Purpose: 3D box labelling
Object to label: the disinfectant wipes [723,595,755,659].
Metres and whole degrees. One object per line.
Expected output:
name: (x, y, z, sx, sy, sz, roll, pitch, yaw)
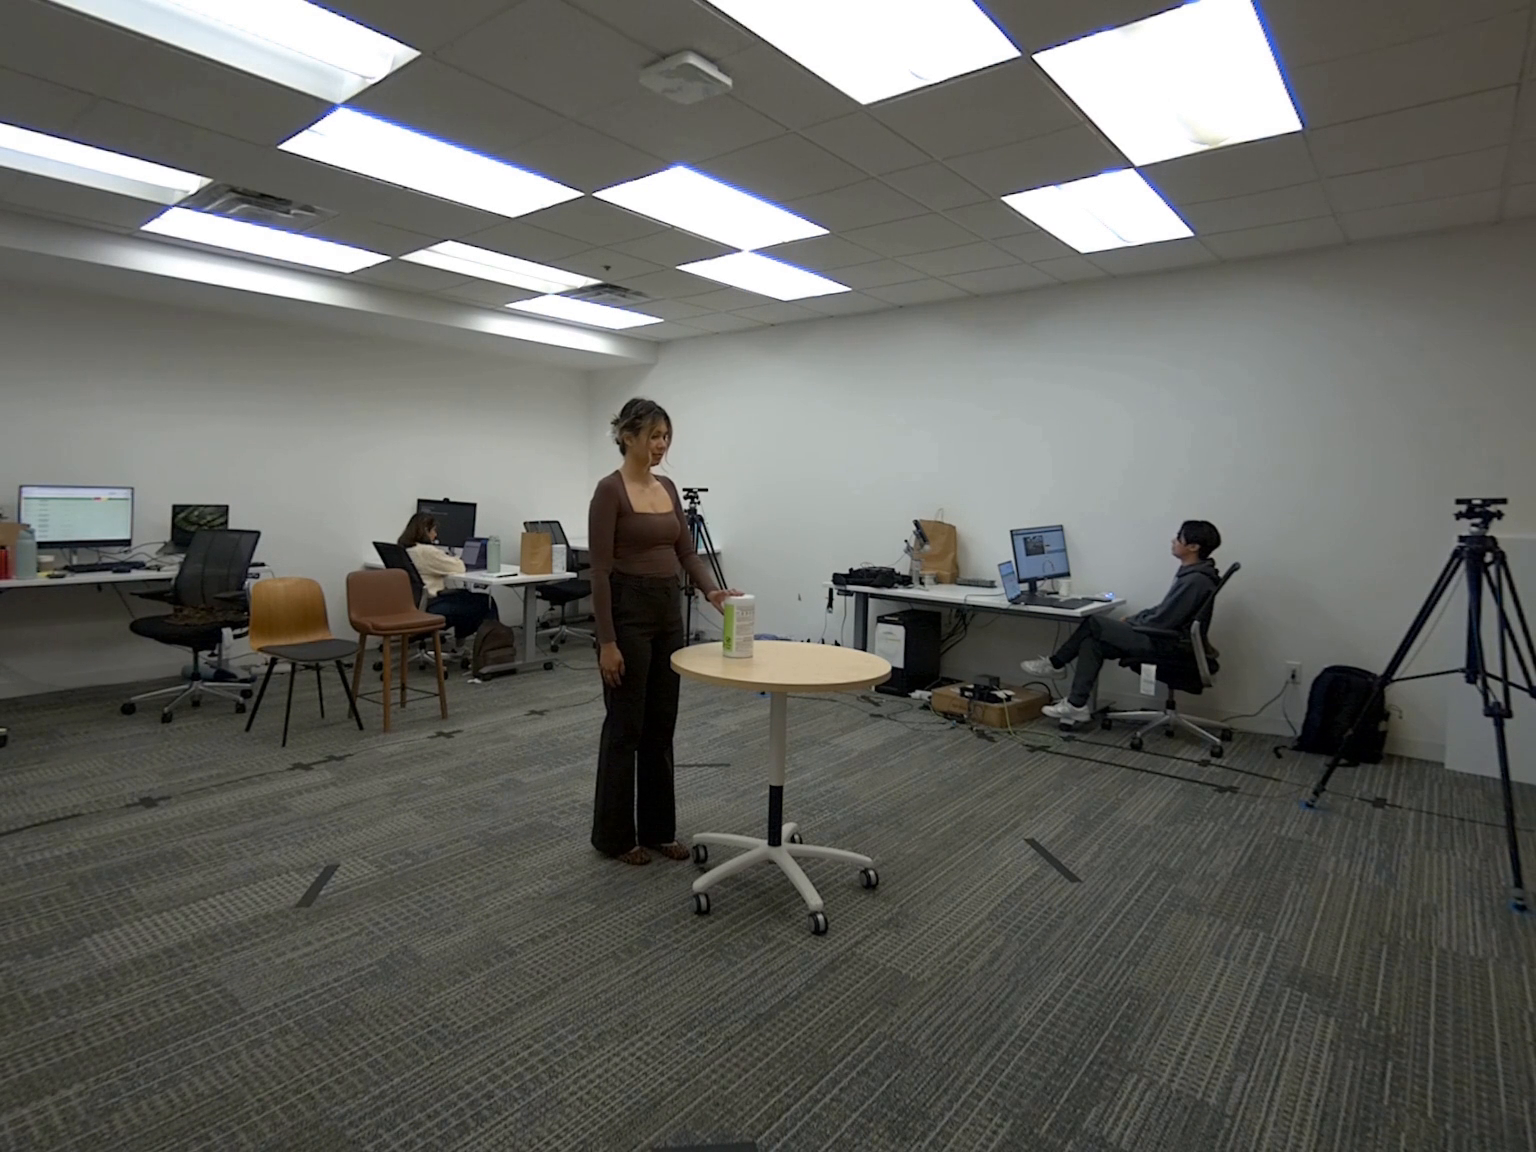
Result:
disinfectant wipes: (-0.113, 0.175, 3.024, 0.118, 0.217, 0.118, -1, 2, -2)
